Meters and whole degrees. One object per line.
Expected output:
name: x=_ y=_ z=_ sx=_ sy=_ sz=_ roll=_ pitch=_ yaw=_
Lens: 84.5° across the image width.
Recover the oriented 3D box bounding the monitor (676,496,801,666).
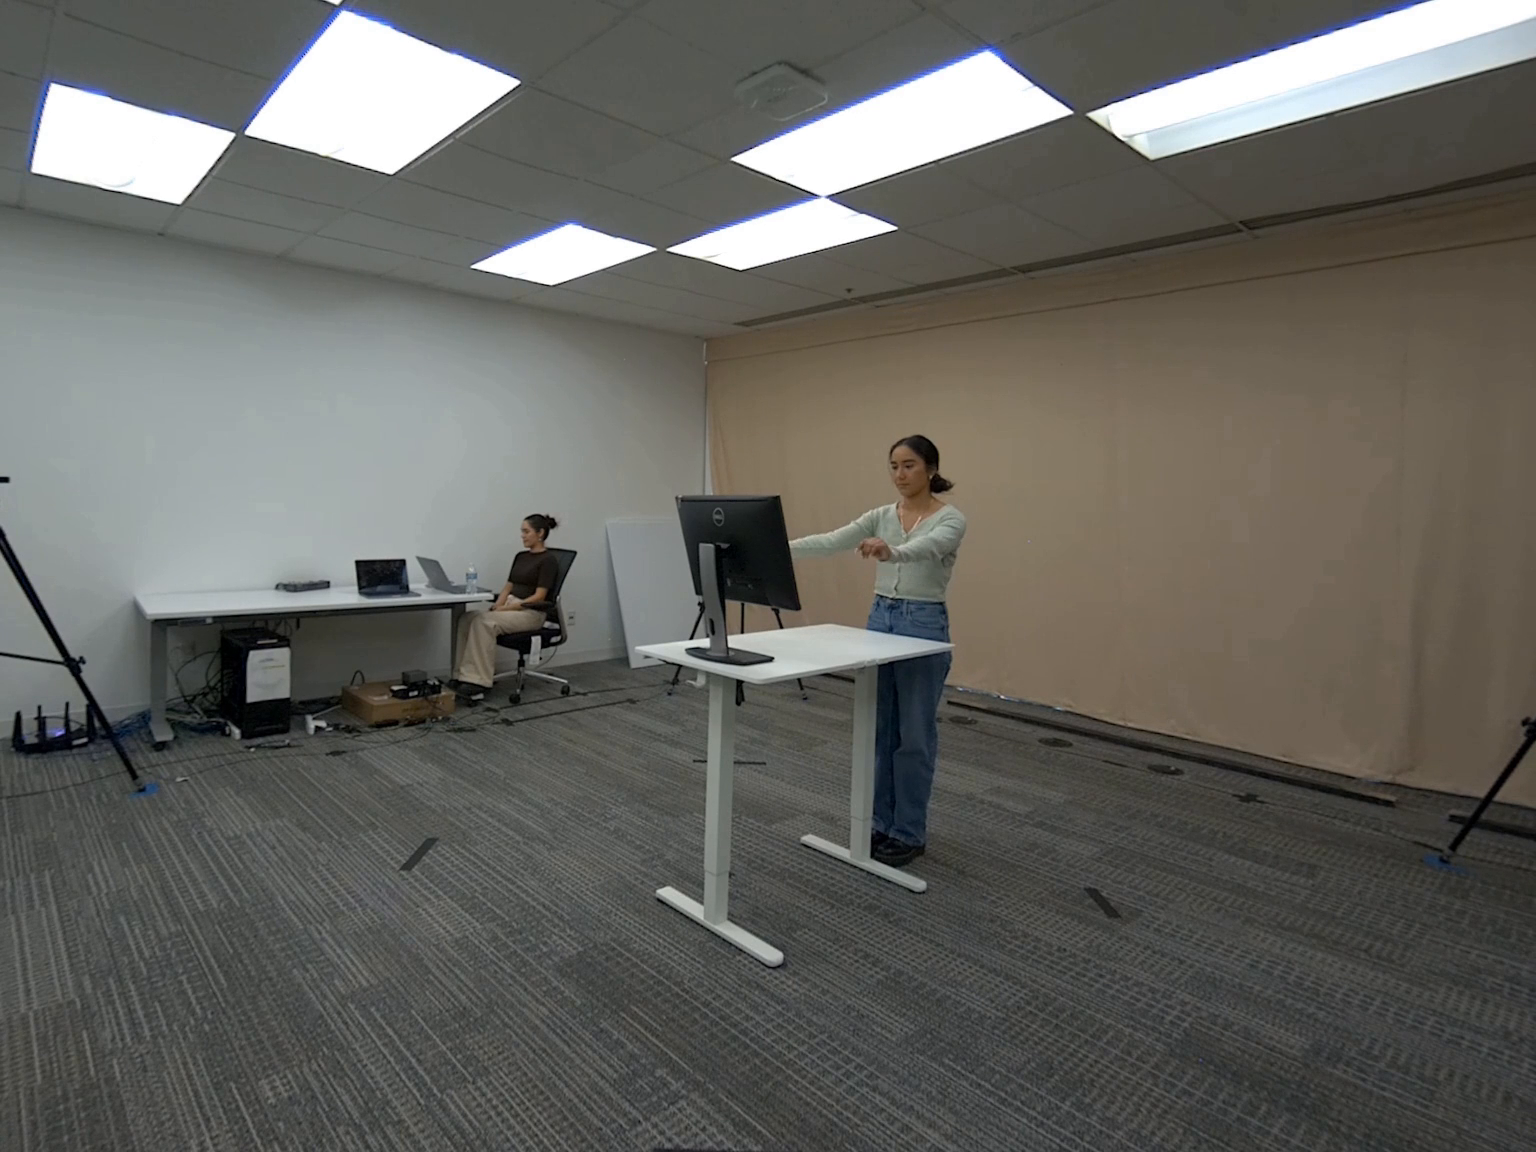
monitor: x=-0.132 y=0.012 z=2.634 sx=0.183 sy=0.521 sz=0.553 roll=-3 pitch=6 yaw=-40
